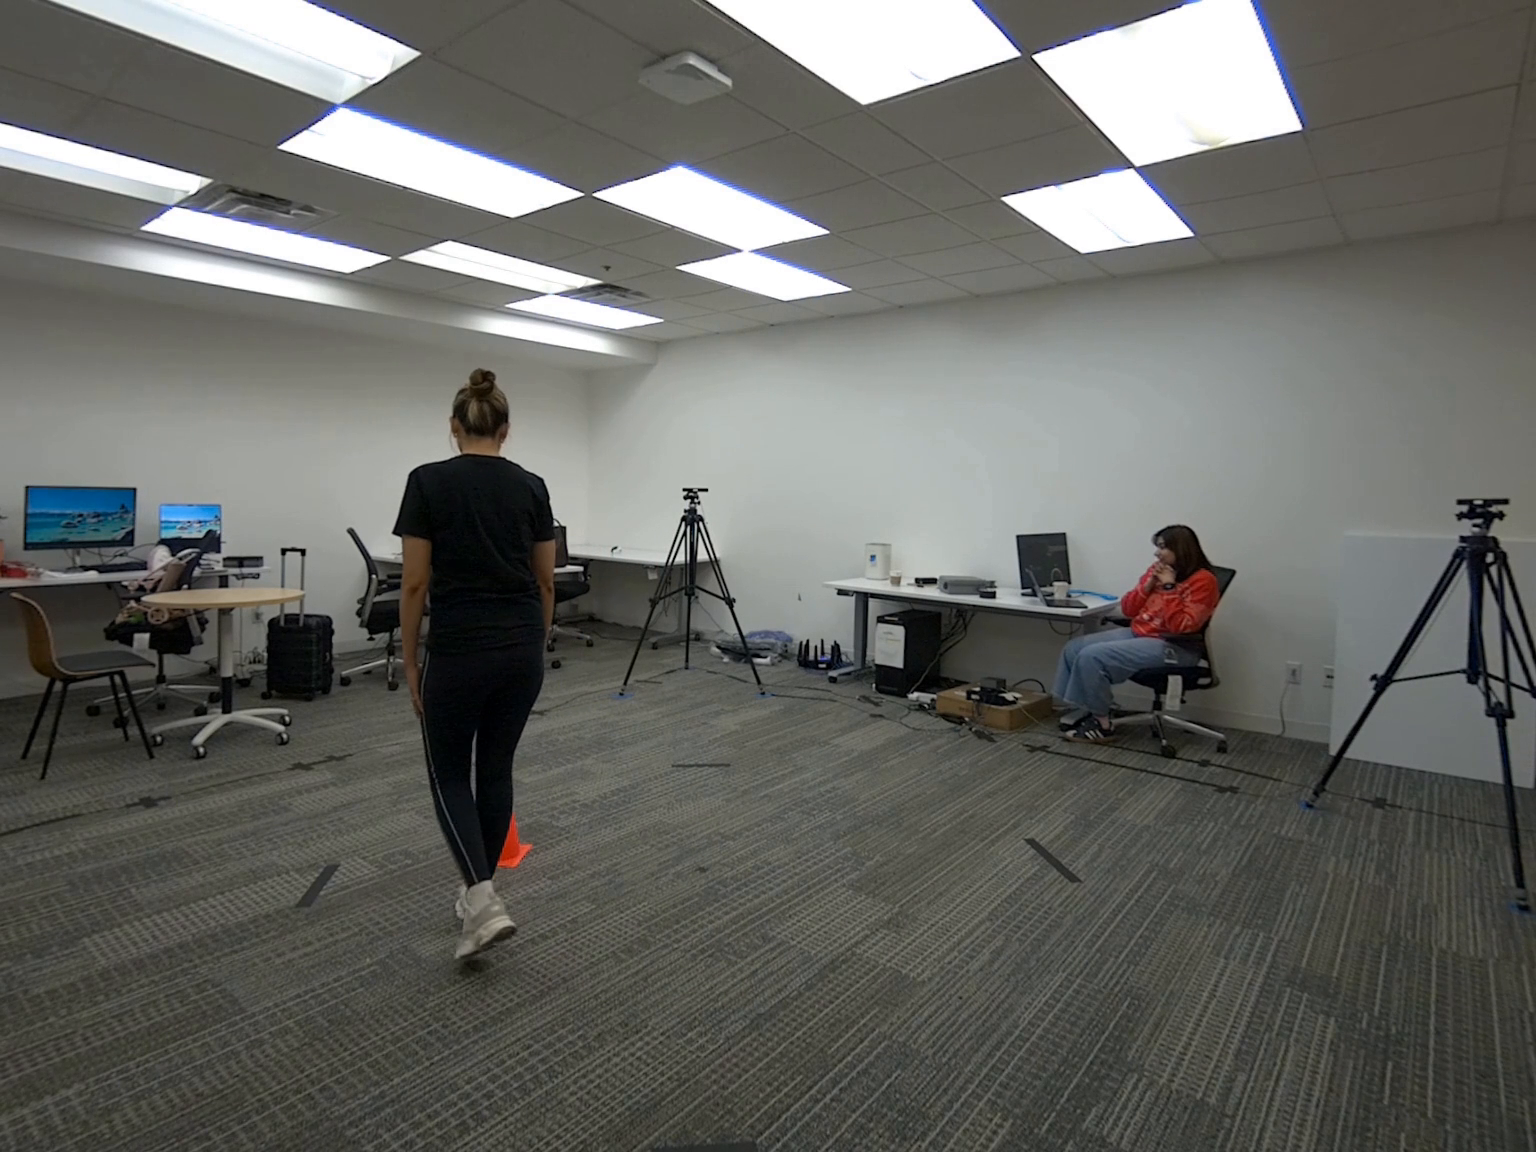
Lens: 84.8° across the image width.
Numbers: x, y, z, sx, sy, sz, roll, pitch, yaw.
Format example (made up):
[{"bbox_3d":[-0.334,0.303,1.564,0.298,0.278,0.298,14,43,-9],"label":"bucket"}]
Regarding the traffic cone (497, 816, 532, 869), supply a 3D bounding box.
[{"bbox_3d":[-1.019,0.861,3.193,0.207,0.383,0.202,1,3,7],"label":"traffic cone"}]
